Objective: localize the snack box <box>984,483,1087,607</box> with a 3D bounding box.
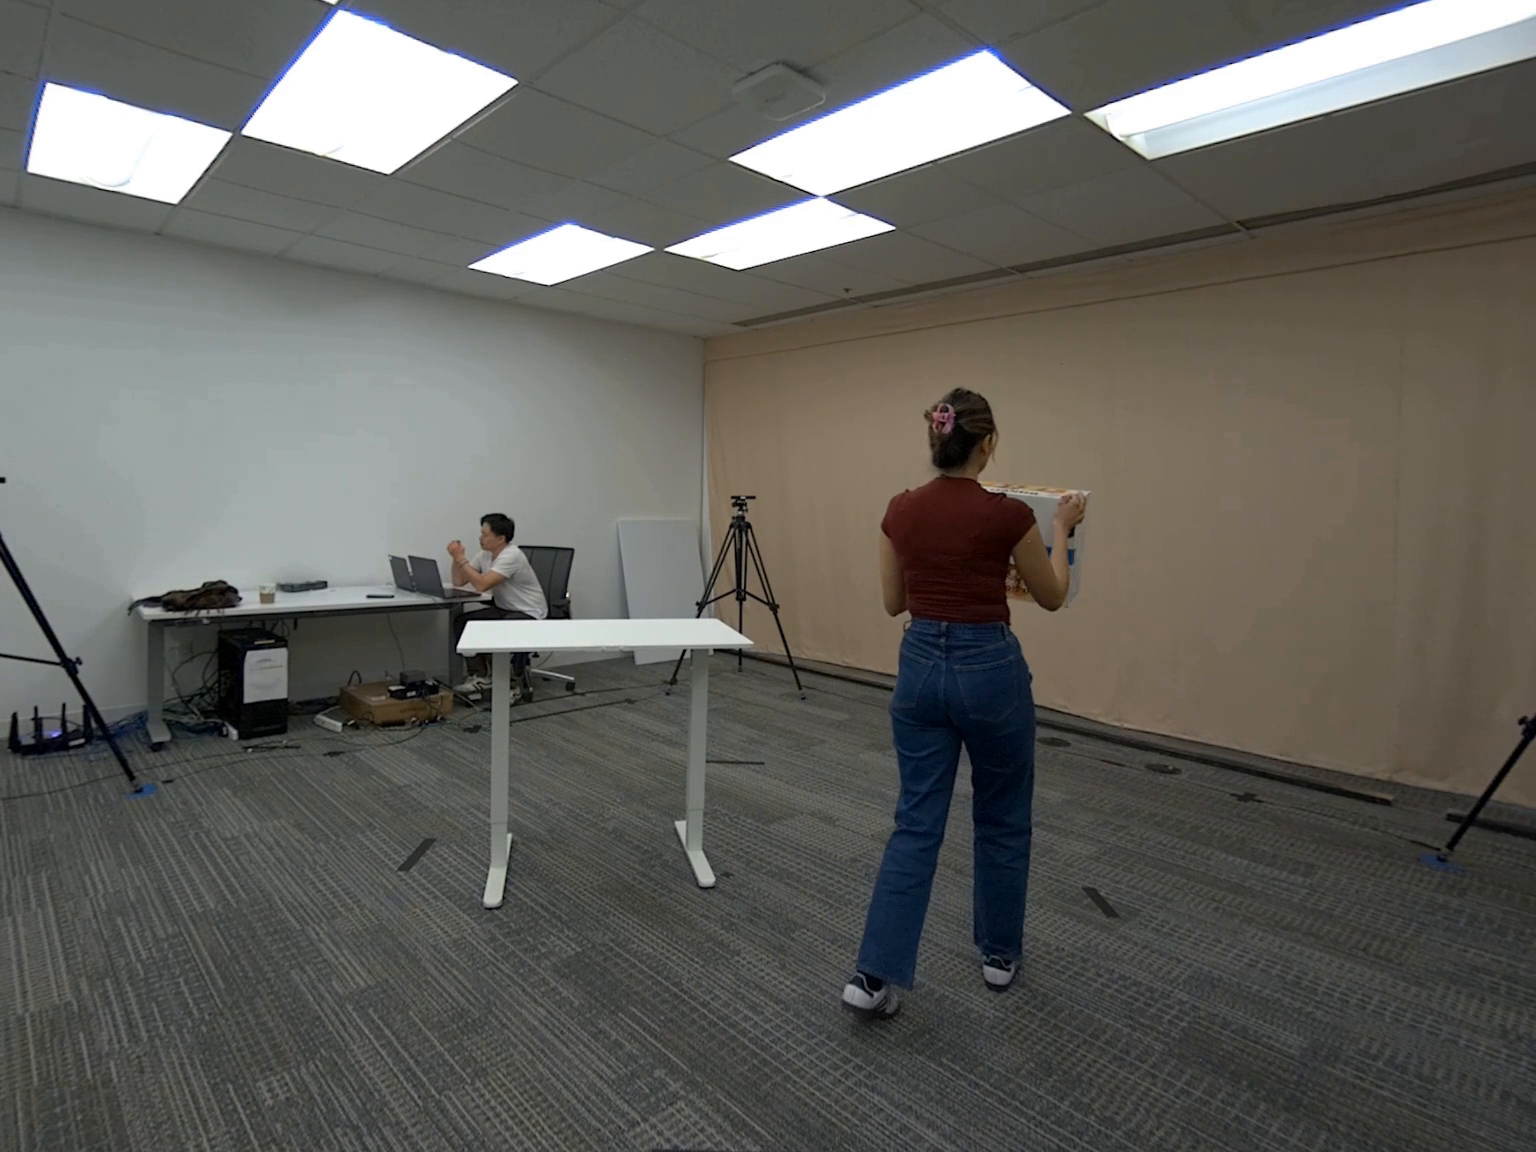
[{"bbox_3d":[0.789,-0.115,2.724,0.415,0.337,0.203,9,17,30],"label":"snack box"}]
